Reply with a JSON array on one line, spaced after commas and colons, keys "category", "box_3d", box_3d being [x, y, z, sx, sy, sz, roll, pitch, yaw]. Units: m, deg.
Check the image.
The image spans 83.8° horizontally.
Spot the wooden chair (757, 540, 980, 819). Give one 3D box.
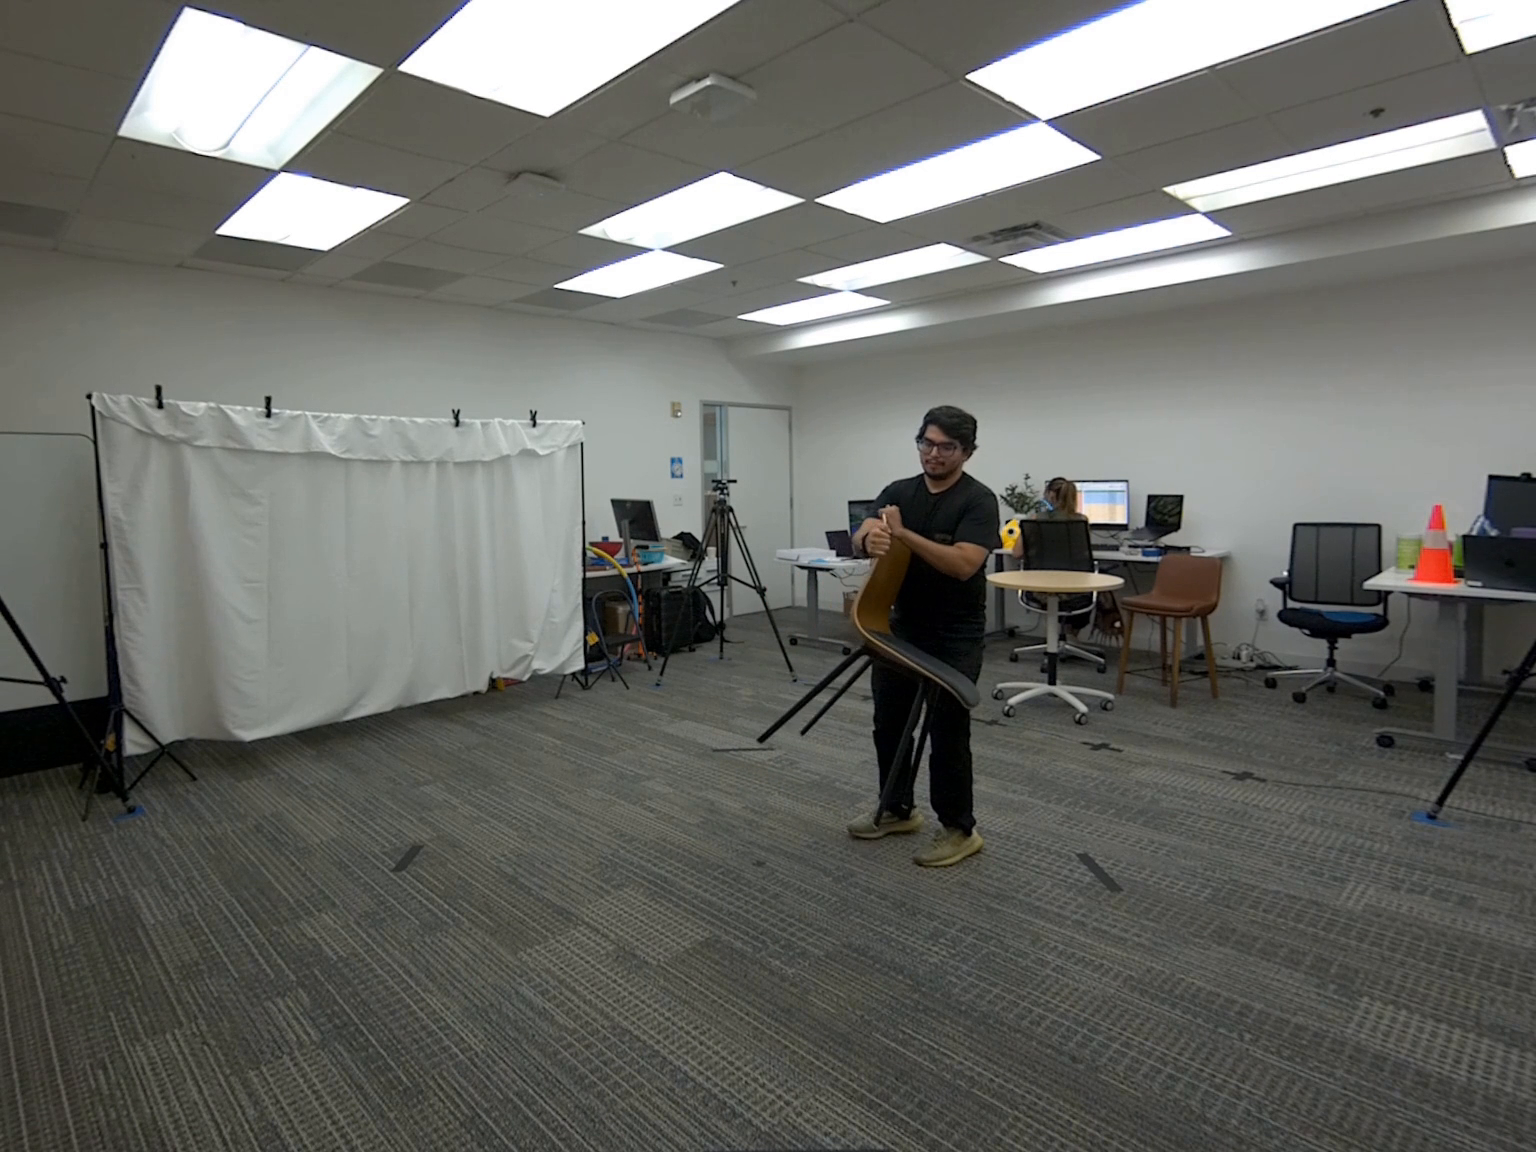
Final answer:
[{"category": "wooden chair", "box_3d": [0.431, 0.305, 2.796, 0.538, 0.877, 0.465, 27, 1, 24]}]
